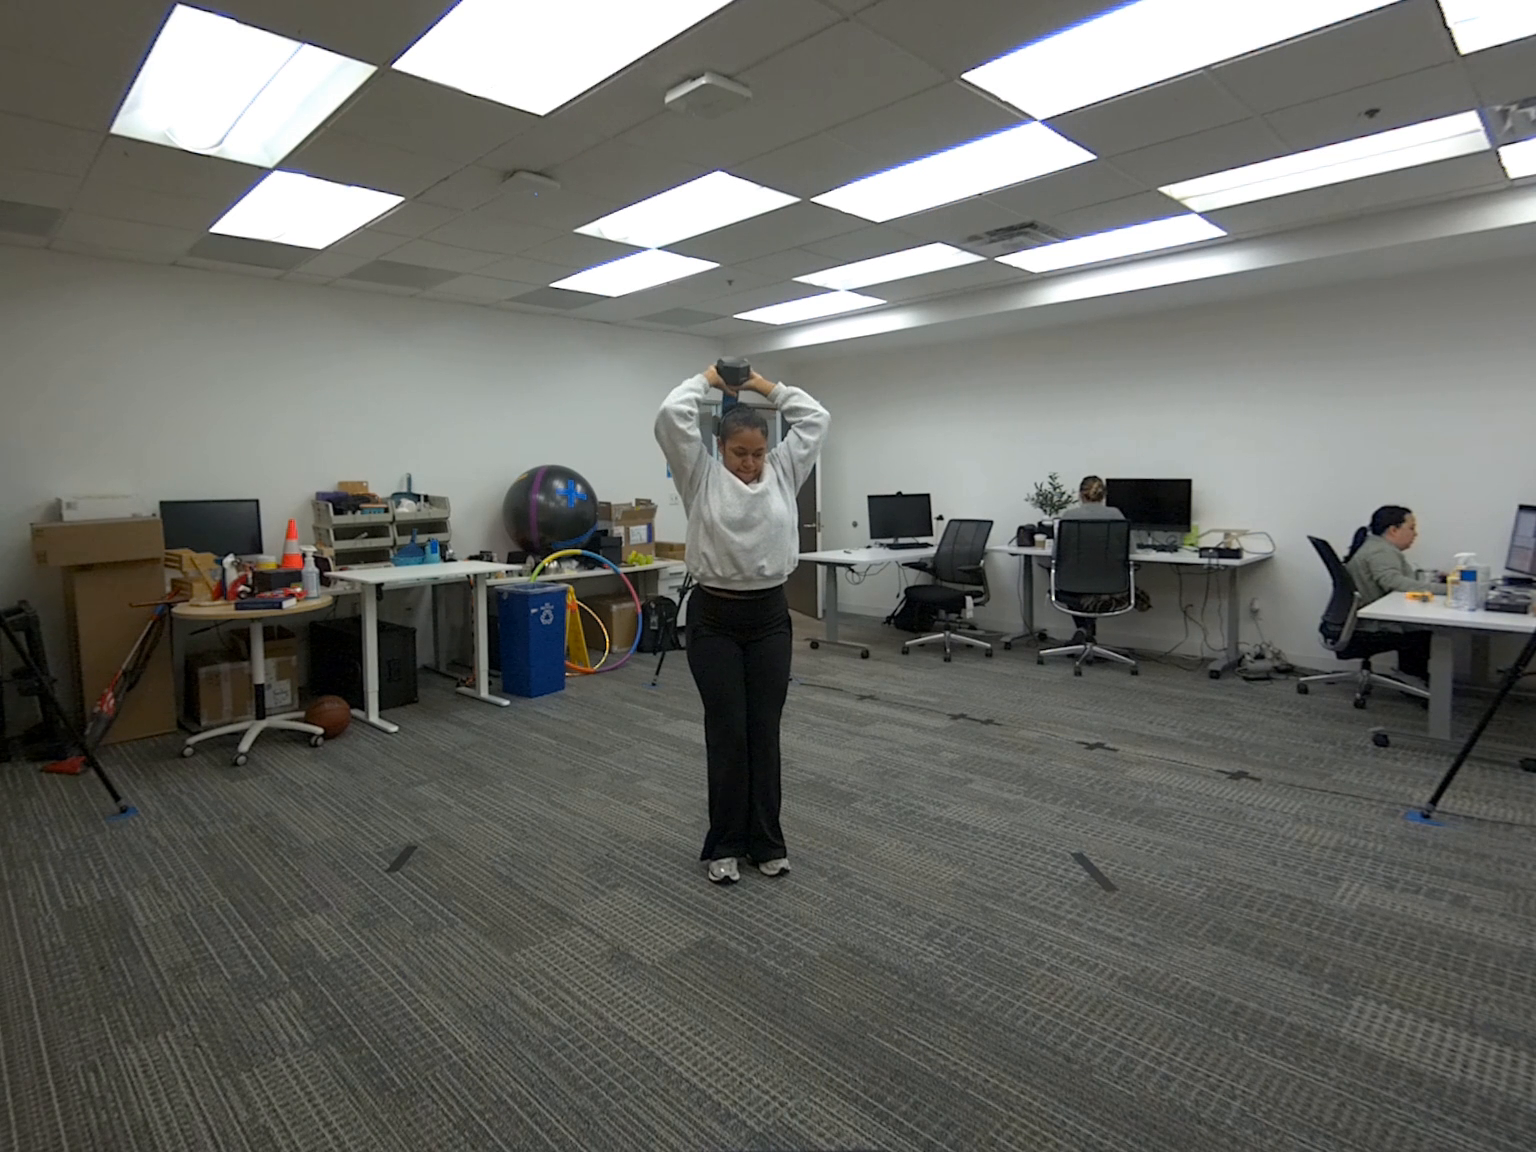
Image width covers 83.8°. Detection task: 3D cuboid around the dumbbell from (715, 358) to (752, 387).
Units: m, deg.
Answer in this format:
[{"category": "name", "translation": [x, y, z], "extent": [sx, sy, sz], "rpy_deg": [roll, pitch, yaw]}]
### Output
[{"category": "dumbbell", "translation": [-0.126, -0.650, 3.130], "extent": [0.112, 0.288, 0.121], "rpy_deg": [25, 33, 27]}]
